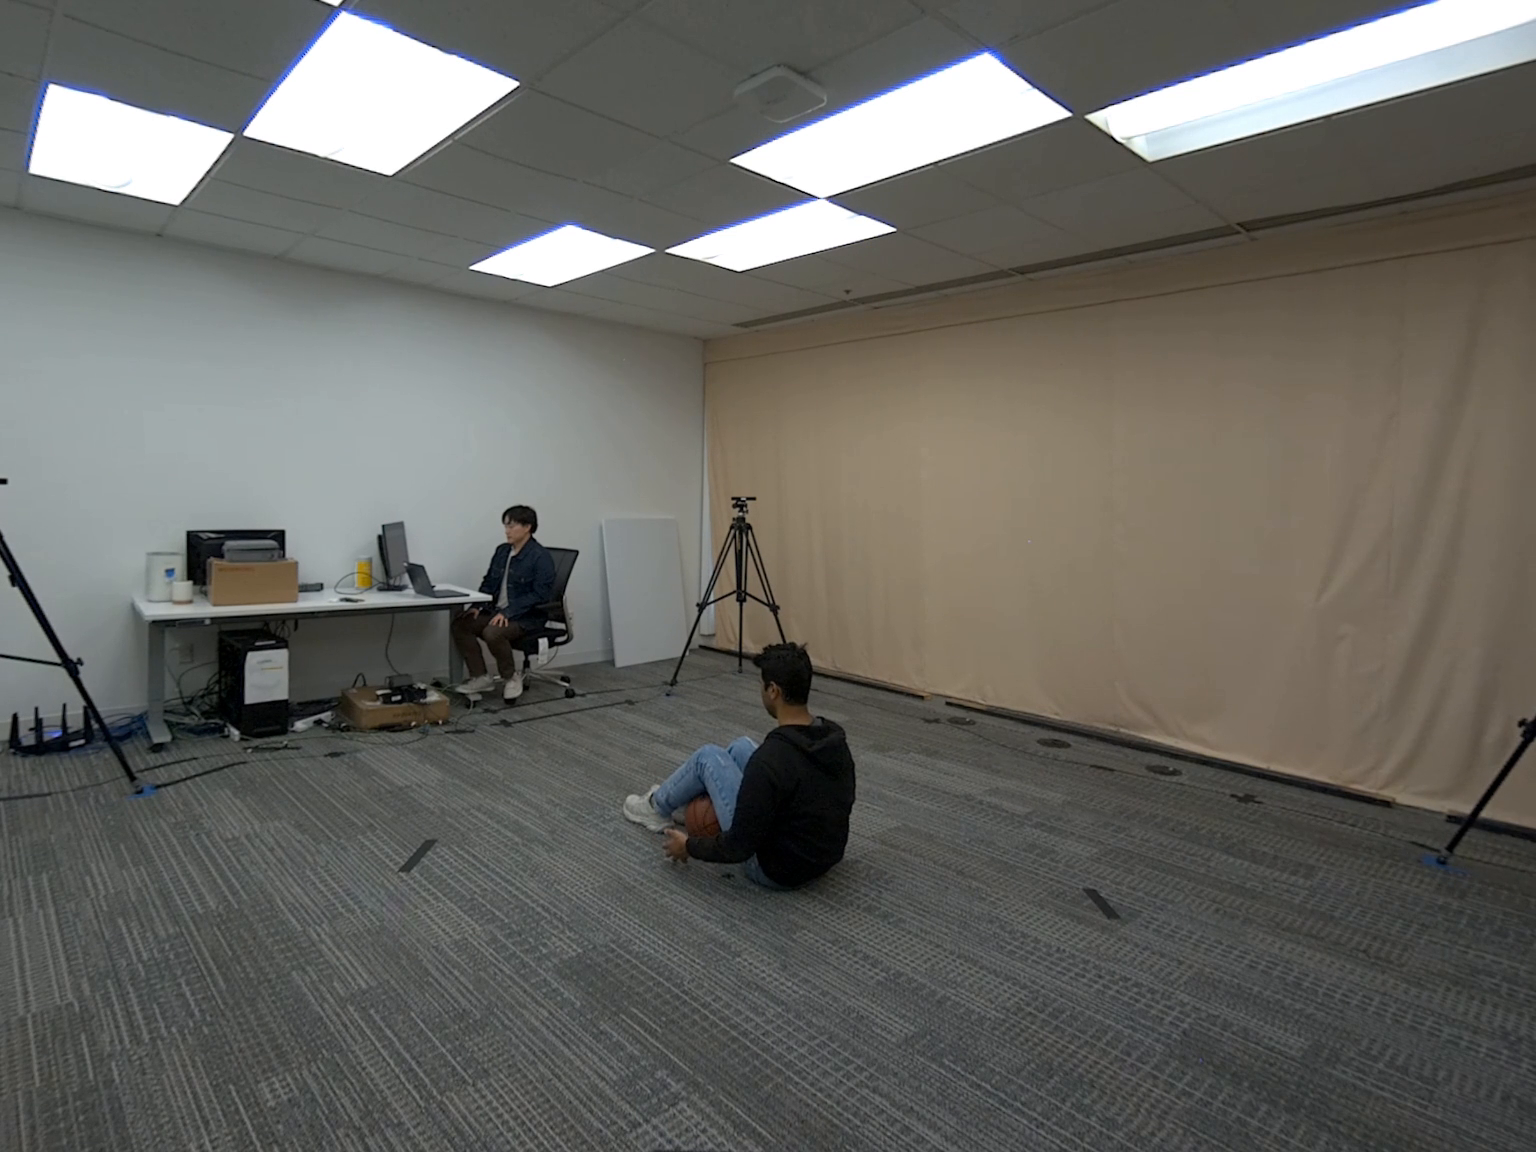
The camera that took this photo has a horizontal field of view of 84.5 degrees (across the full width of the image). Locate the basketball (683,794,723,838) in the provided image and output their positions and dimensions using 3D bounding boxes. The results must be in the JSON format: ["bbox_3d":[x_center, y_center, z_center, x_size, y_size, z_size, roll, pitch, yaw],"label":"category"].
[{"bbox_3d":[-0.201,0.959,3.339,0.236,0.235,0.237,1,4,-1],"label":"basketball"}]
